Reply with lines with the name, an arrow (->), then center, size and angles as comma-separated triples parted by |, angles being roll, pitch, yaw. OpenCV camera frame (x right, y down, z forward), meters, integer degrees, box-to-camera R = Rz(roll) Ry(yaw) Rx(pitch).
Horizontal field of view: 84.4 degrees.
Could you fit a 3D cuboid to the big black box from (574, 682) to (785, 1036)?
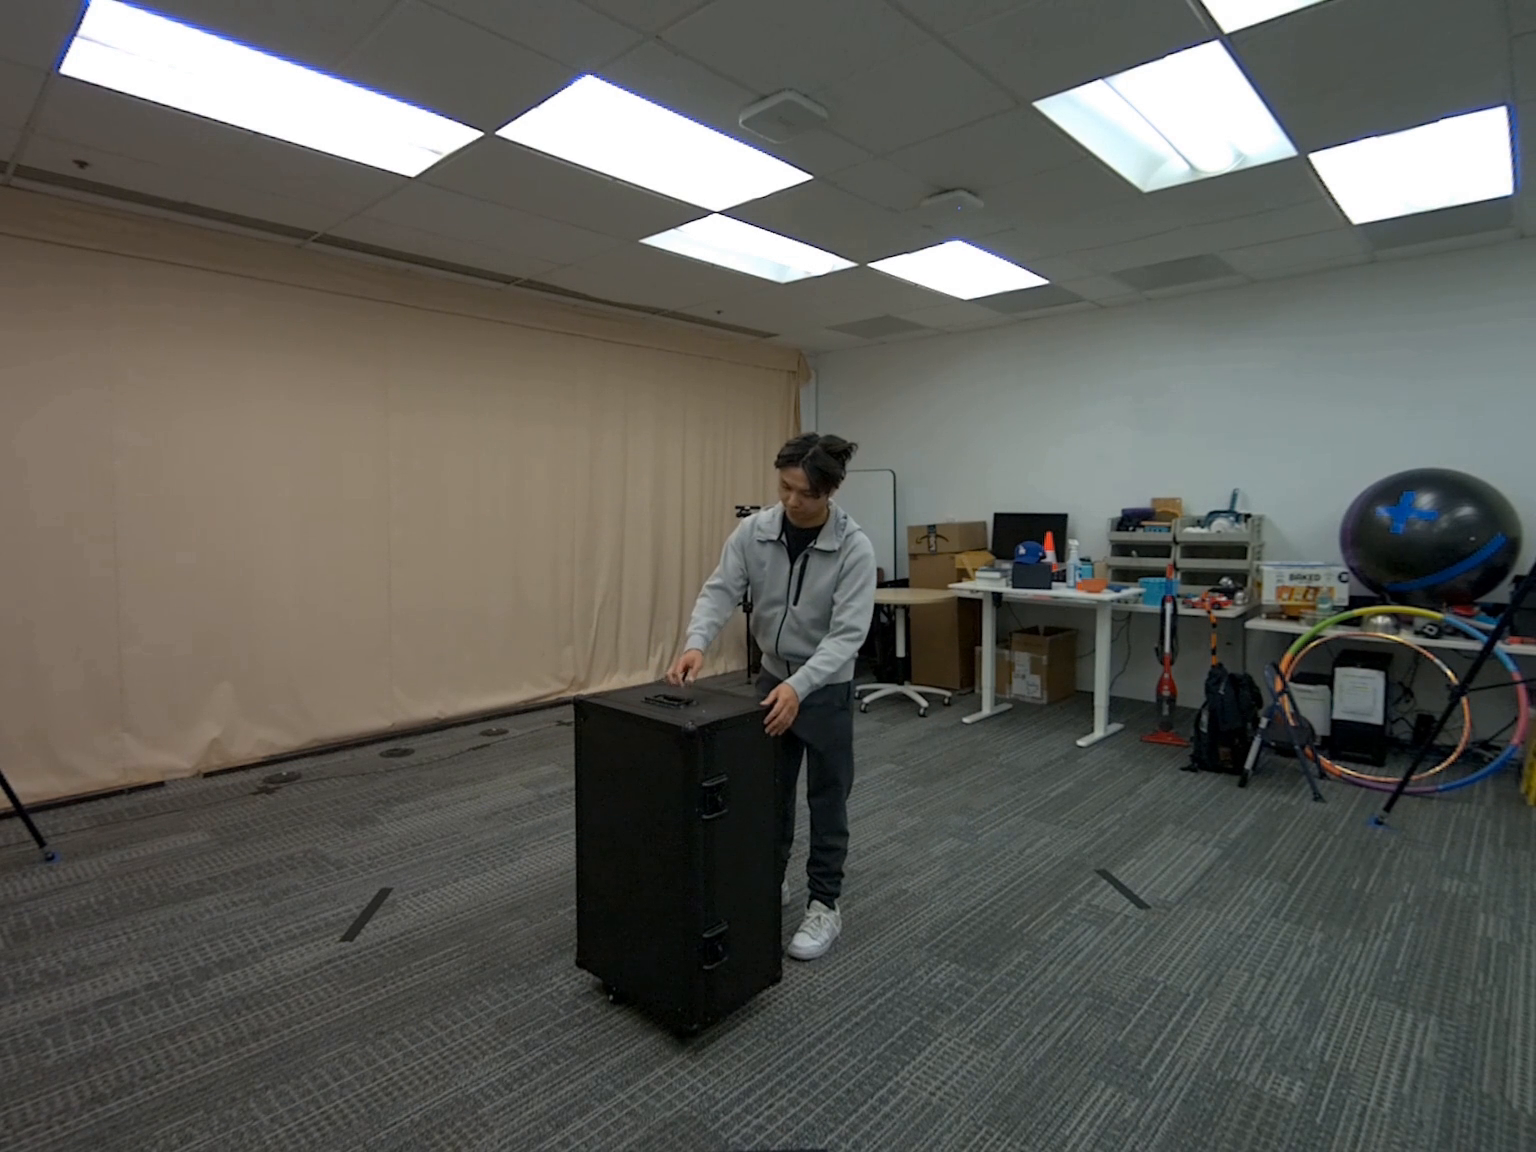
big black box -> -0.256, 0.772, 2.378 | 0.538, 0.860, 0.384 | 3, 3, 42
